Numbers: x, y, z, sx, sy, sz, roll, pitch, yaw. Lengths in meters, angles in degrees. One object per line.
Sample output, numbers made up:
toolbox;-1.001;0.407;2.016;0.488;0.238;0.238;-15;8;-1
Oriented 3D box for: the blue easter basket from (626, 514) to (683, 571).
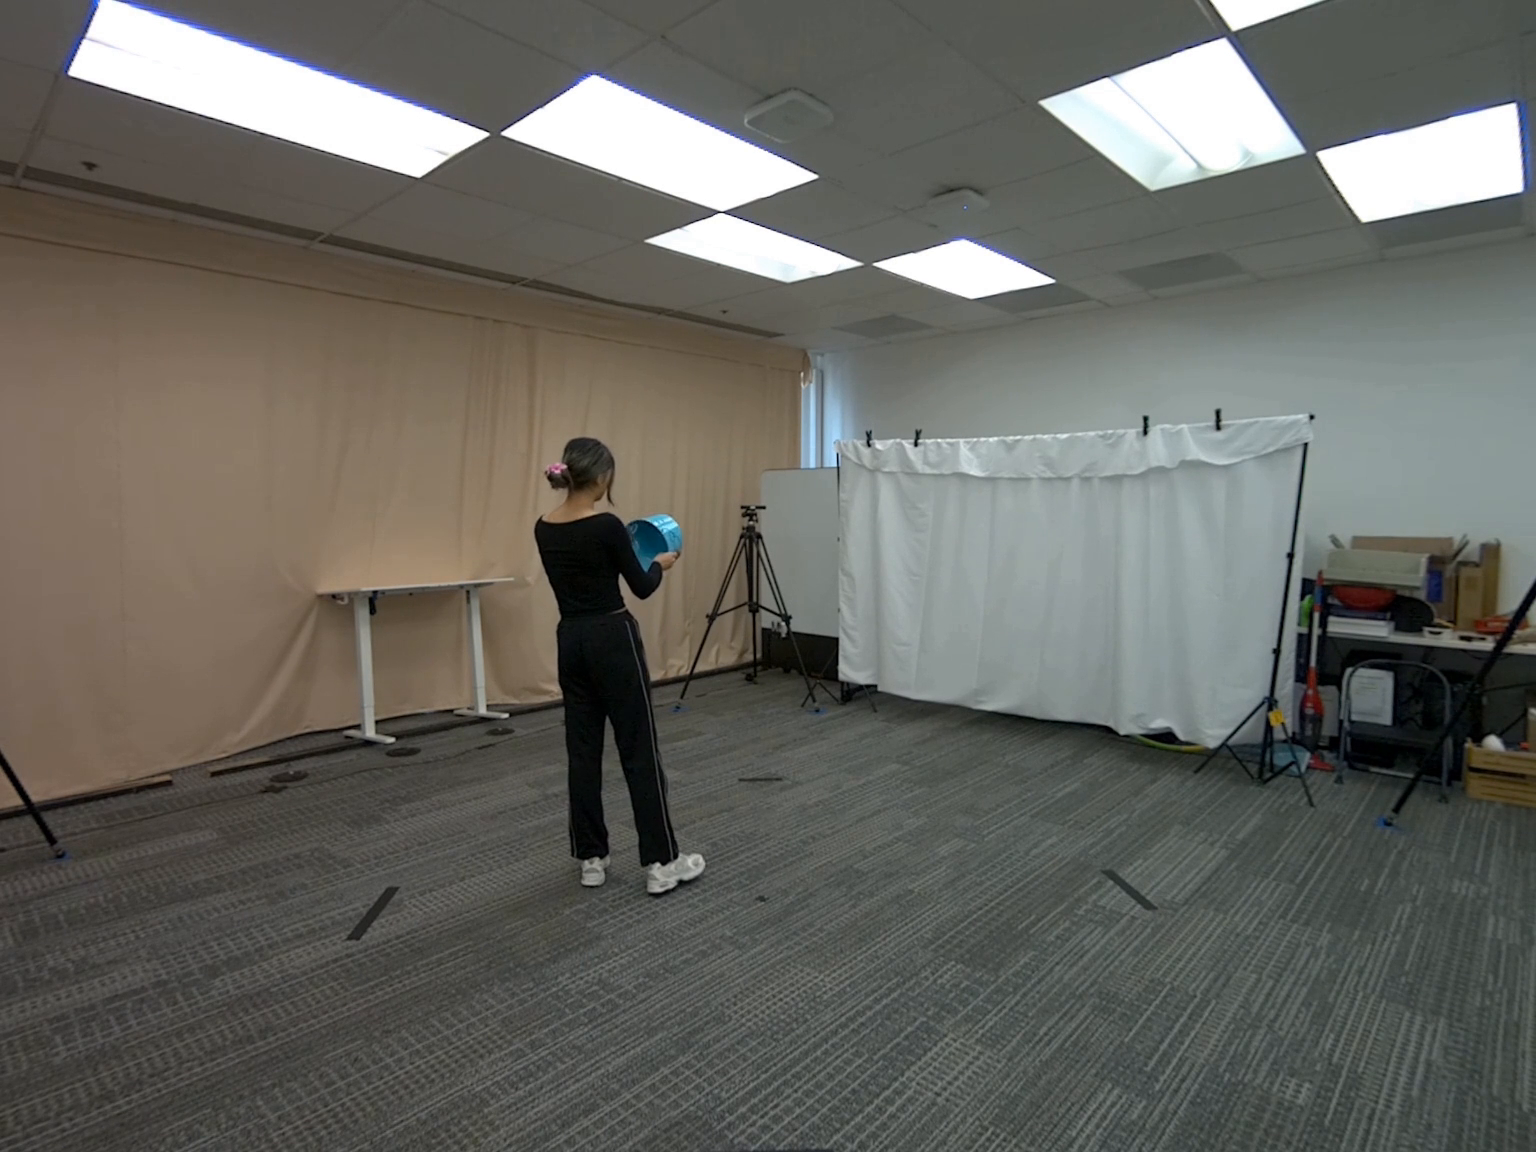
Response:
blue easter basket;-0.469;-0.150;3.517;0.250;0.240;0.153;2;19;29
